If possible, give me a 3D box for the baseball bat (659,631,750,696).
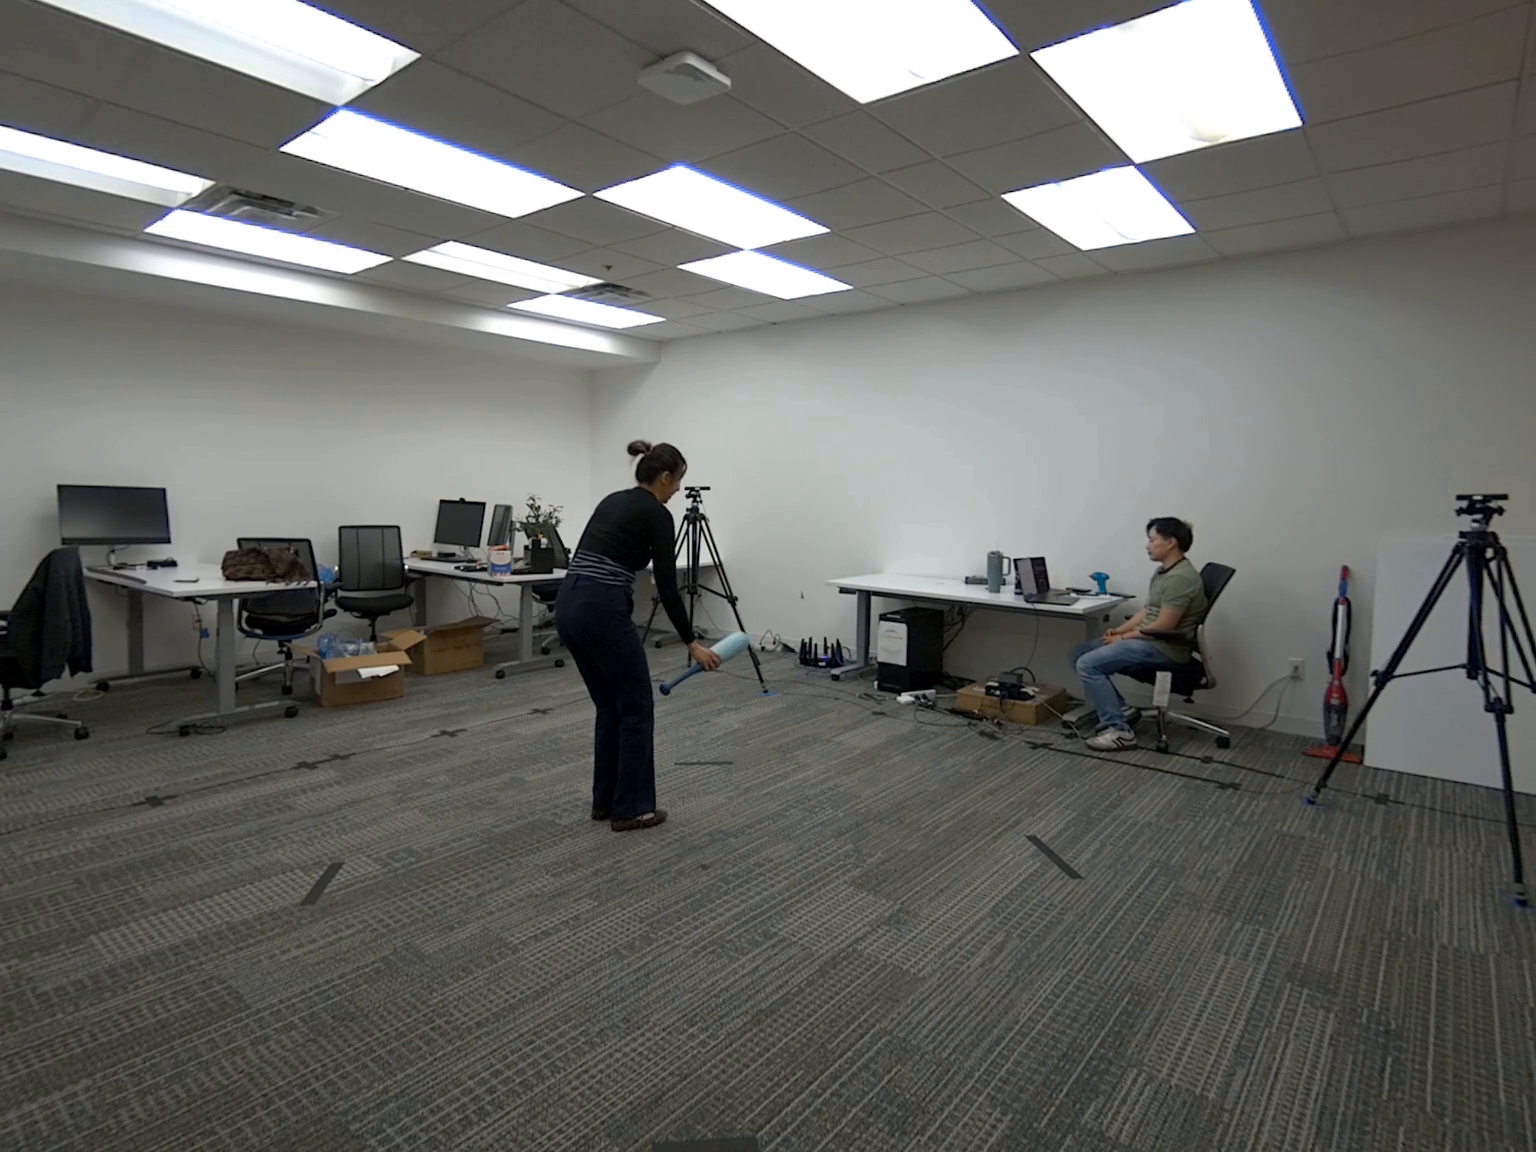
[{"bbox_3d":[-0.273,0.373,3.559,0.092,0.087,0.535,3,22,36],"label":"baseball bat"}]
